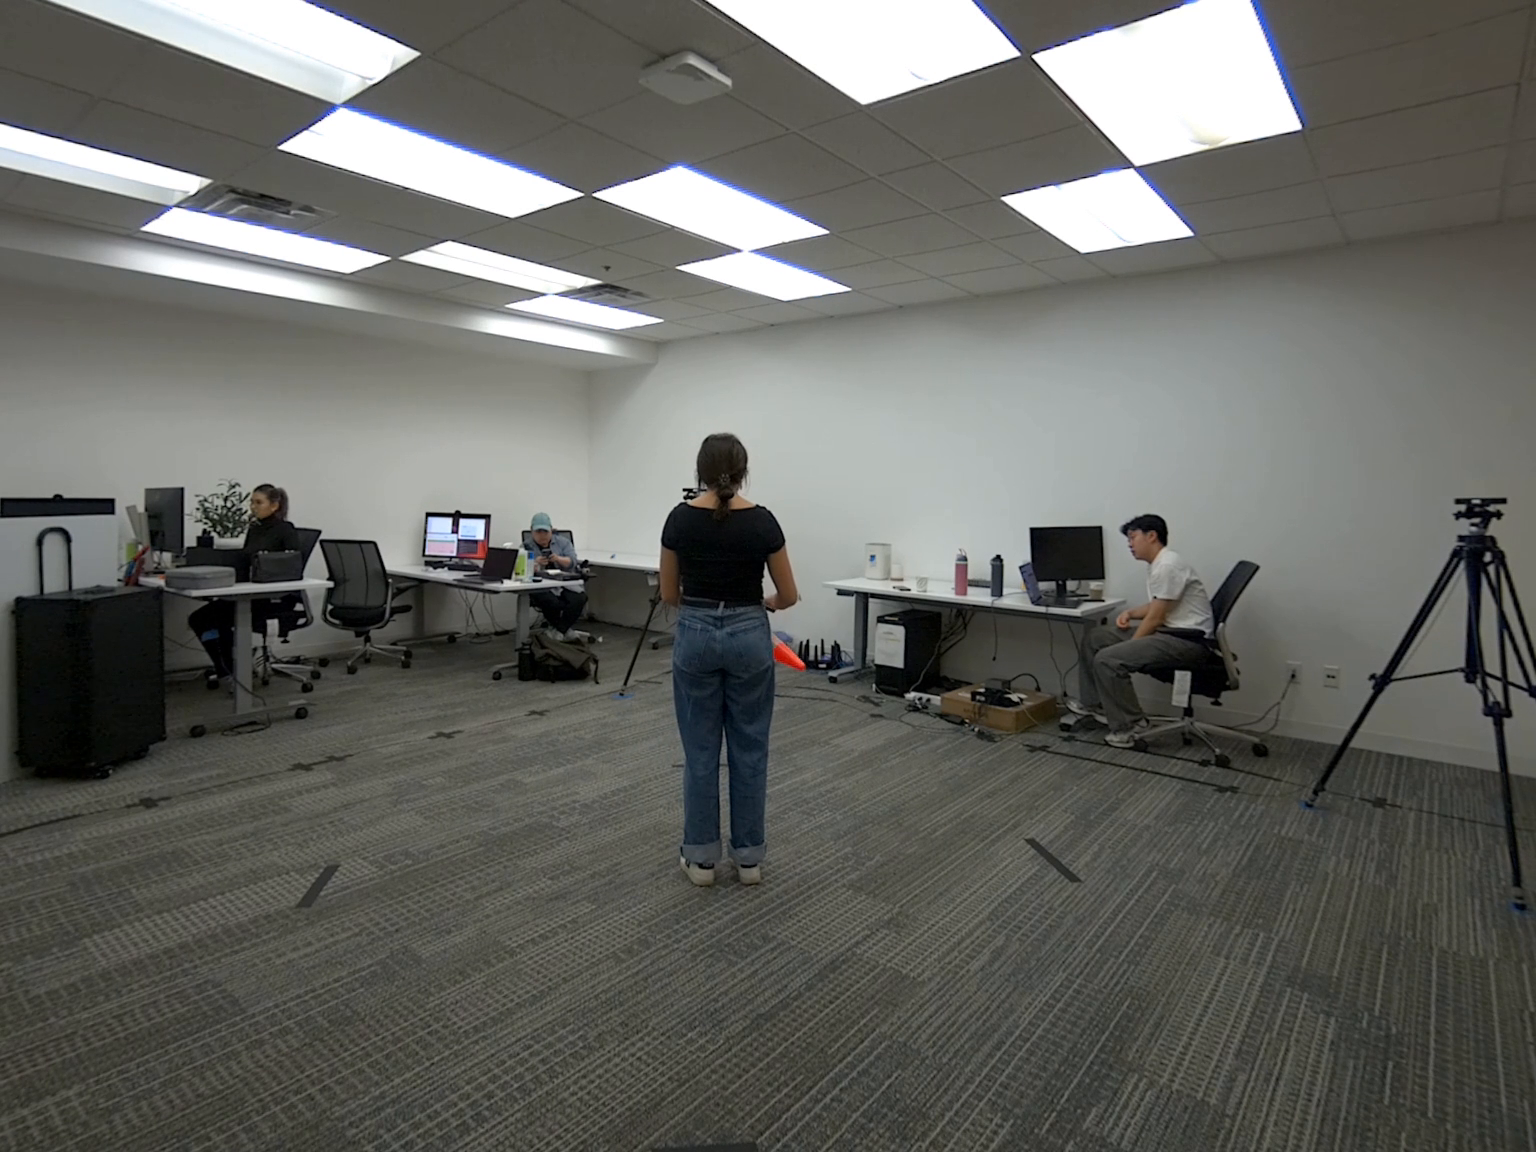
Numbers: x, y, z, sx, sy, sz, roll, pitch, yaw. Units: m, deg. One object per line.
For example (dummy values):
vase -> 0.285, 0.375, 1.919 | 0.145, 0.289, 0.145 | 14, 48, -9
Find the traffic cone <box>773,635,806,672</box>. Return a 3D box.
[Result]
traffic cone -> -0.008, 0.241, 3.277 | 0.399, 0.197, 0.203 | 28, 49, 35
